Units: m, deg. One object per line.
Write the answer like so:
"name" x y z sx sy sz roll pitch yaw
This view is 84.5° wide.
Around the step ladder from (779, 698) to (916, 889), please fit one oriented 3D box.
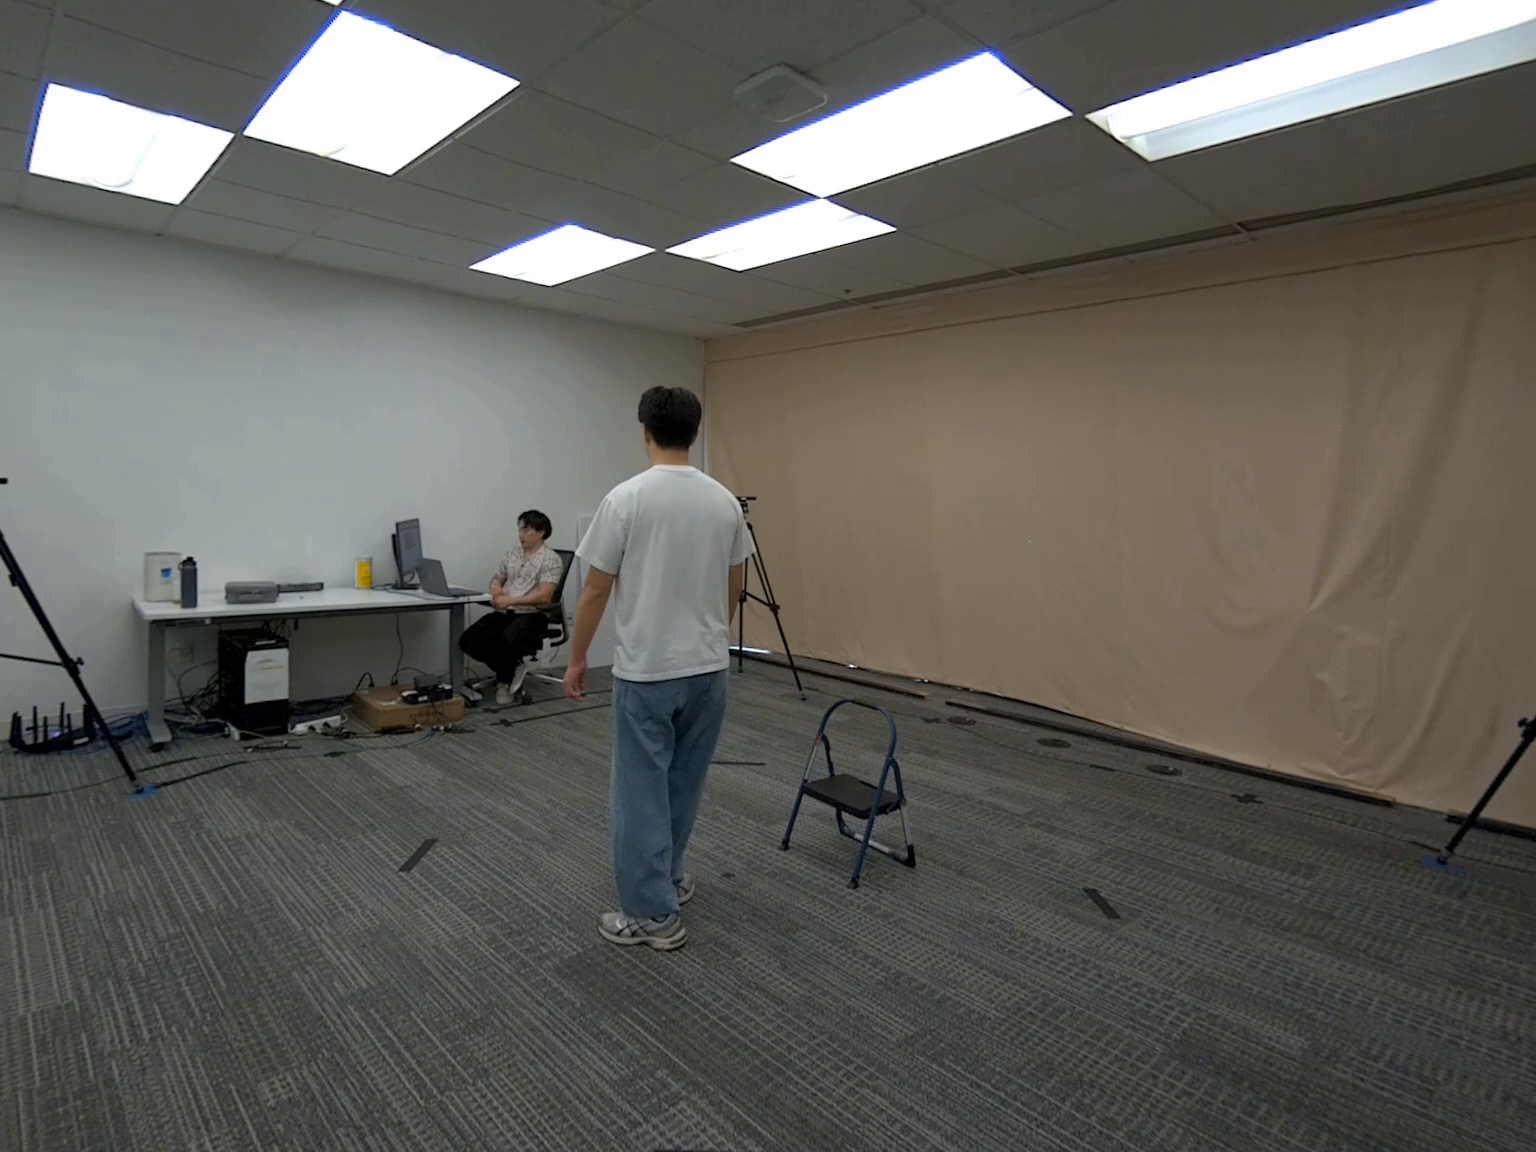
"step ladder" 0.311 0.798 3.274 0.341 0.605 0.441 -1 4 -37
